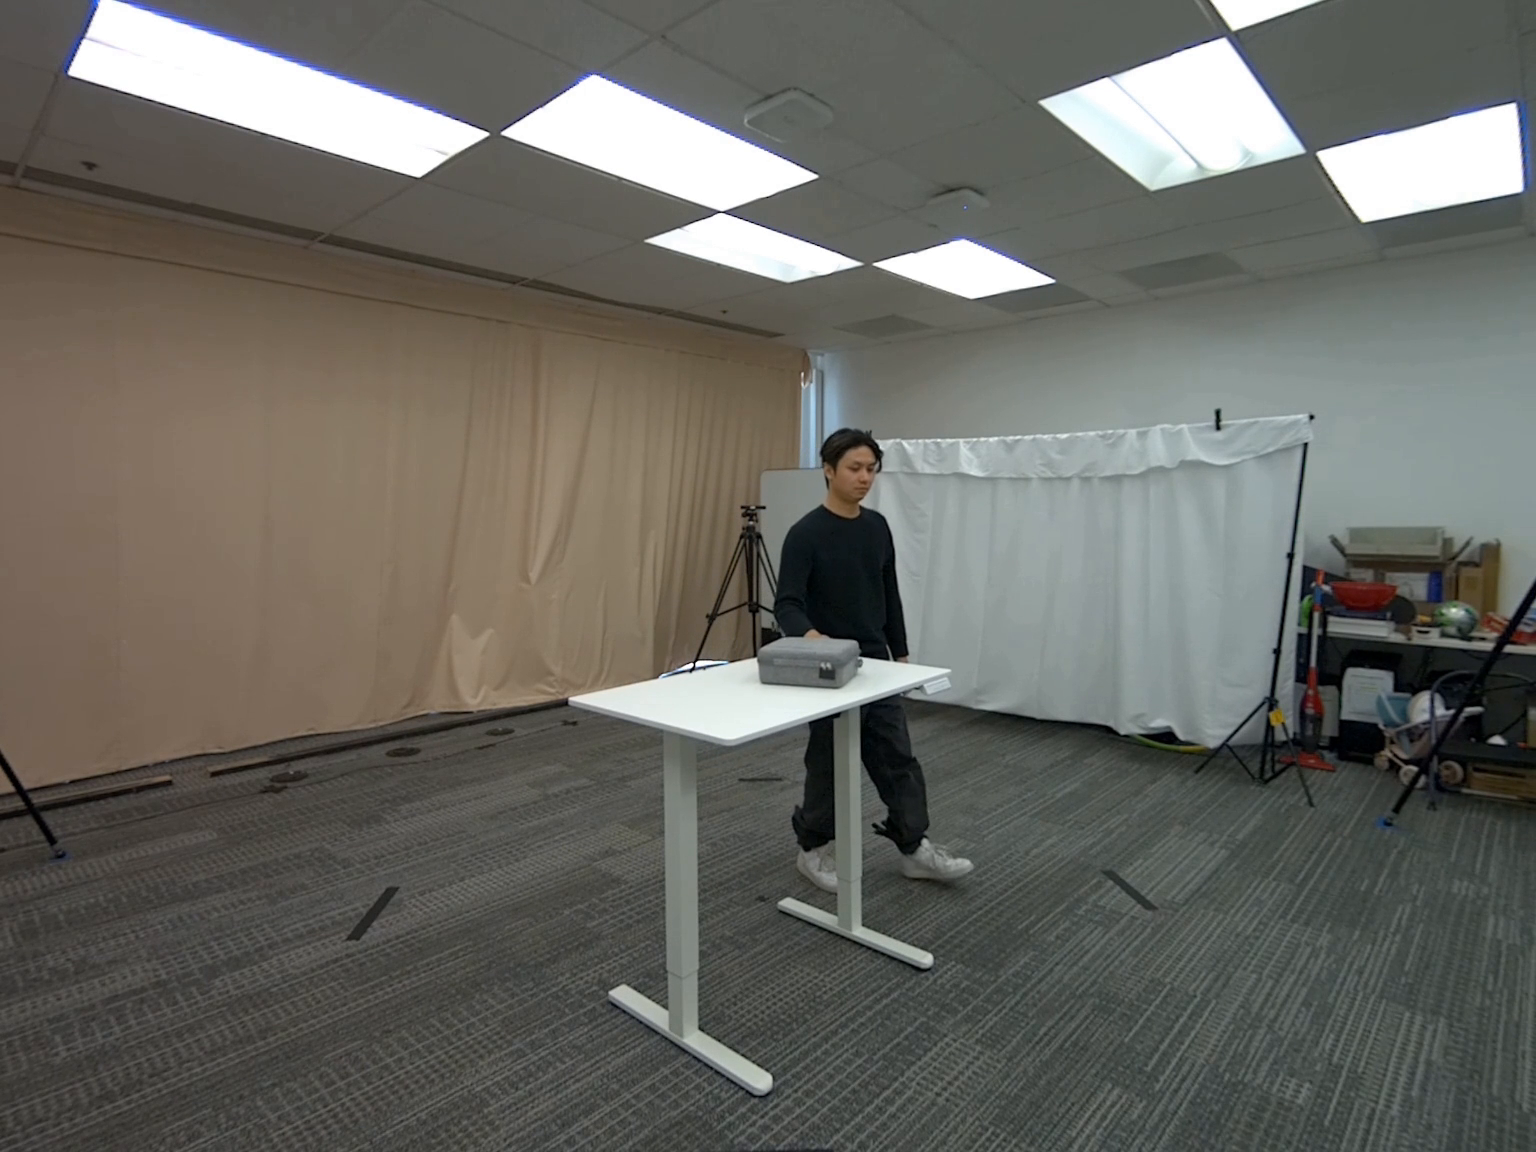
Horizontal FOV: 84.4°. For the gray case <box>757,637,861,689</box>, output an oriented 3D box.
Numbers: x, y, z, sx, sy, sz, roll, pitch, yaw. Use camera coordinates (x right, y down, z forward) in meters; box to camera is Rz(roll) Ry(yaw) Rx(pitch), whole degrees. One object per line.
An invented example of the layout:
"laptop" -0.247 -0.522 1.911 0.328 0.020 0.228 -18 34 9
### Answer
"gray case" 0.122 0.247 2.480 0.263 0.104 0.255 1 5 21
